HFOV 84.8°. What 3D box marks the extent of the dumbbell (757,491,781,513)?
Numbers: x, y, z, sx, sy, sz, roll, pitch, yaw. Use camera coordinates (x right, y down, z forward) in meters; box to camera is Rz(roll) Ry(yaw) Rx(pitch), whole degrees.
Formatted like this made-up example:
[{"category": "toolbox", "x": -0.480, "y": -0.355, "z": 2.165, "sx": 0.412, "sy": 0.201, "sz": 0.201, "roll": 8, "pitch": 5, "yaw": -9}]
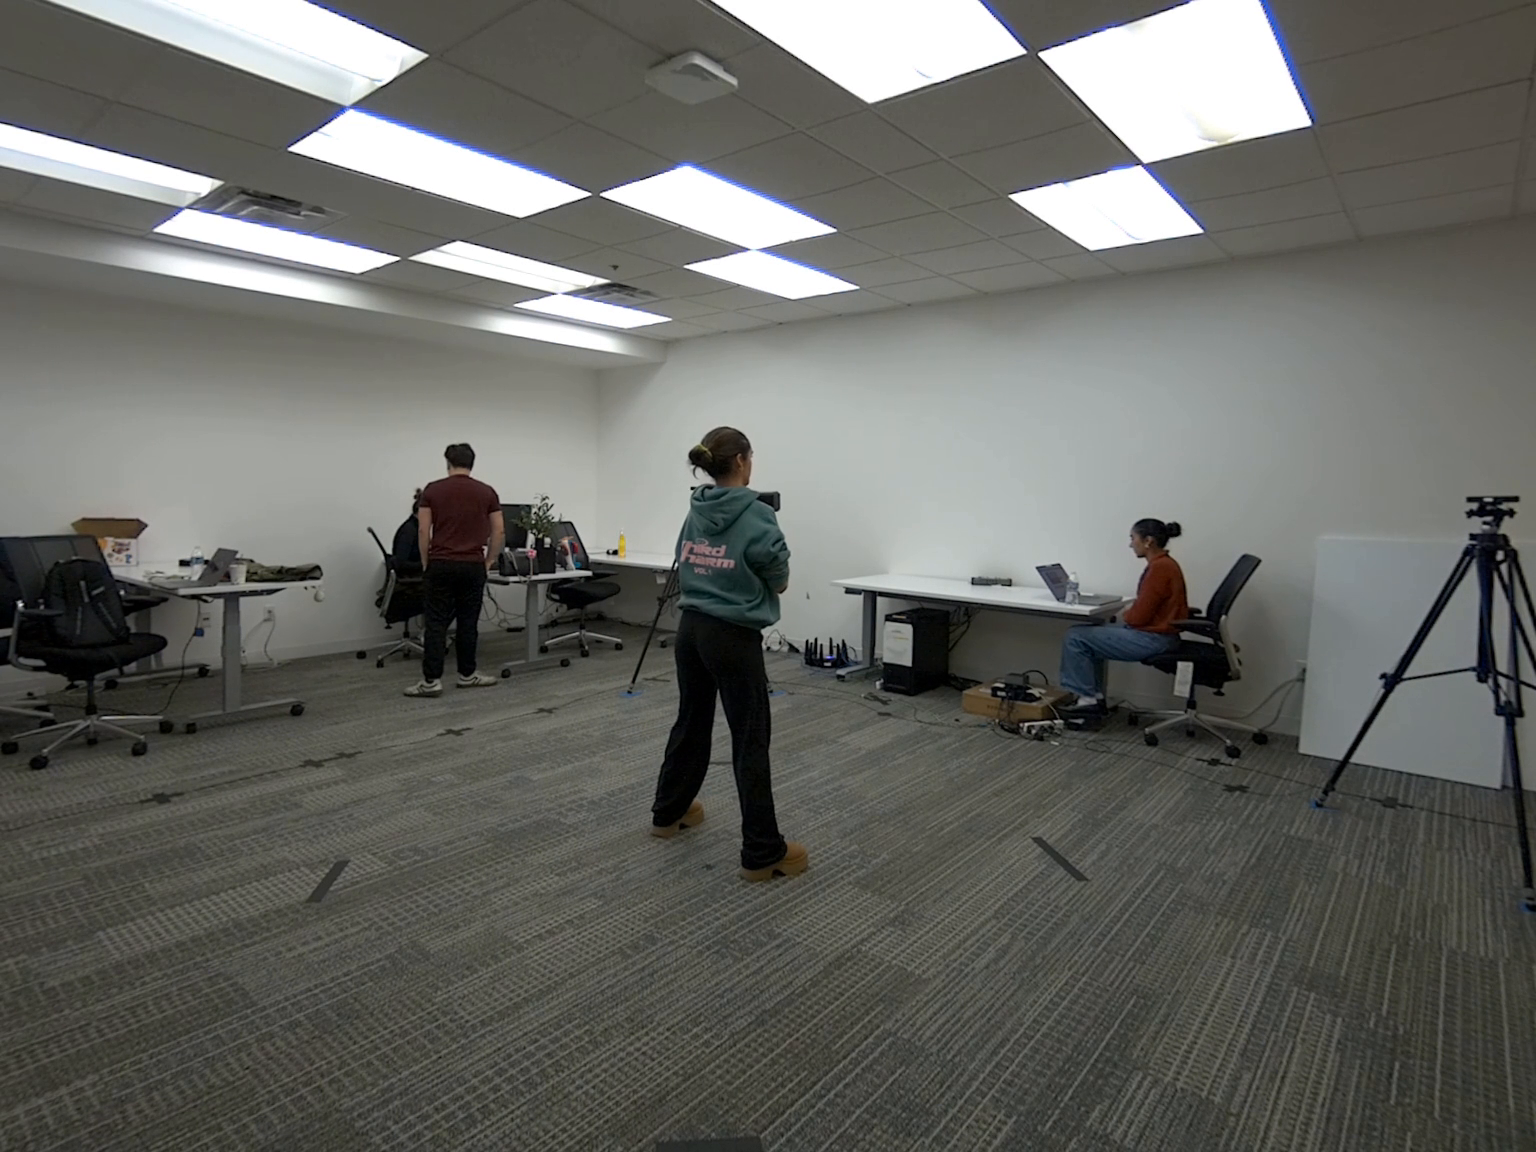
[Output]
[{"category": "dumbbell", "x": -0.017, "y": -0.179, "z": 3.333, "sx": 0.123, "sy": 0.292, "sz": 0.110, "roll": 0, "pitch": 7, "yaw": -3}]
